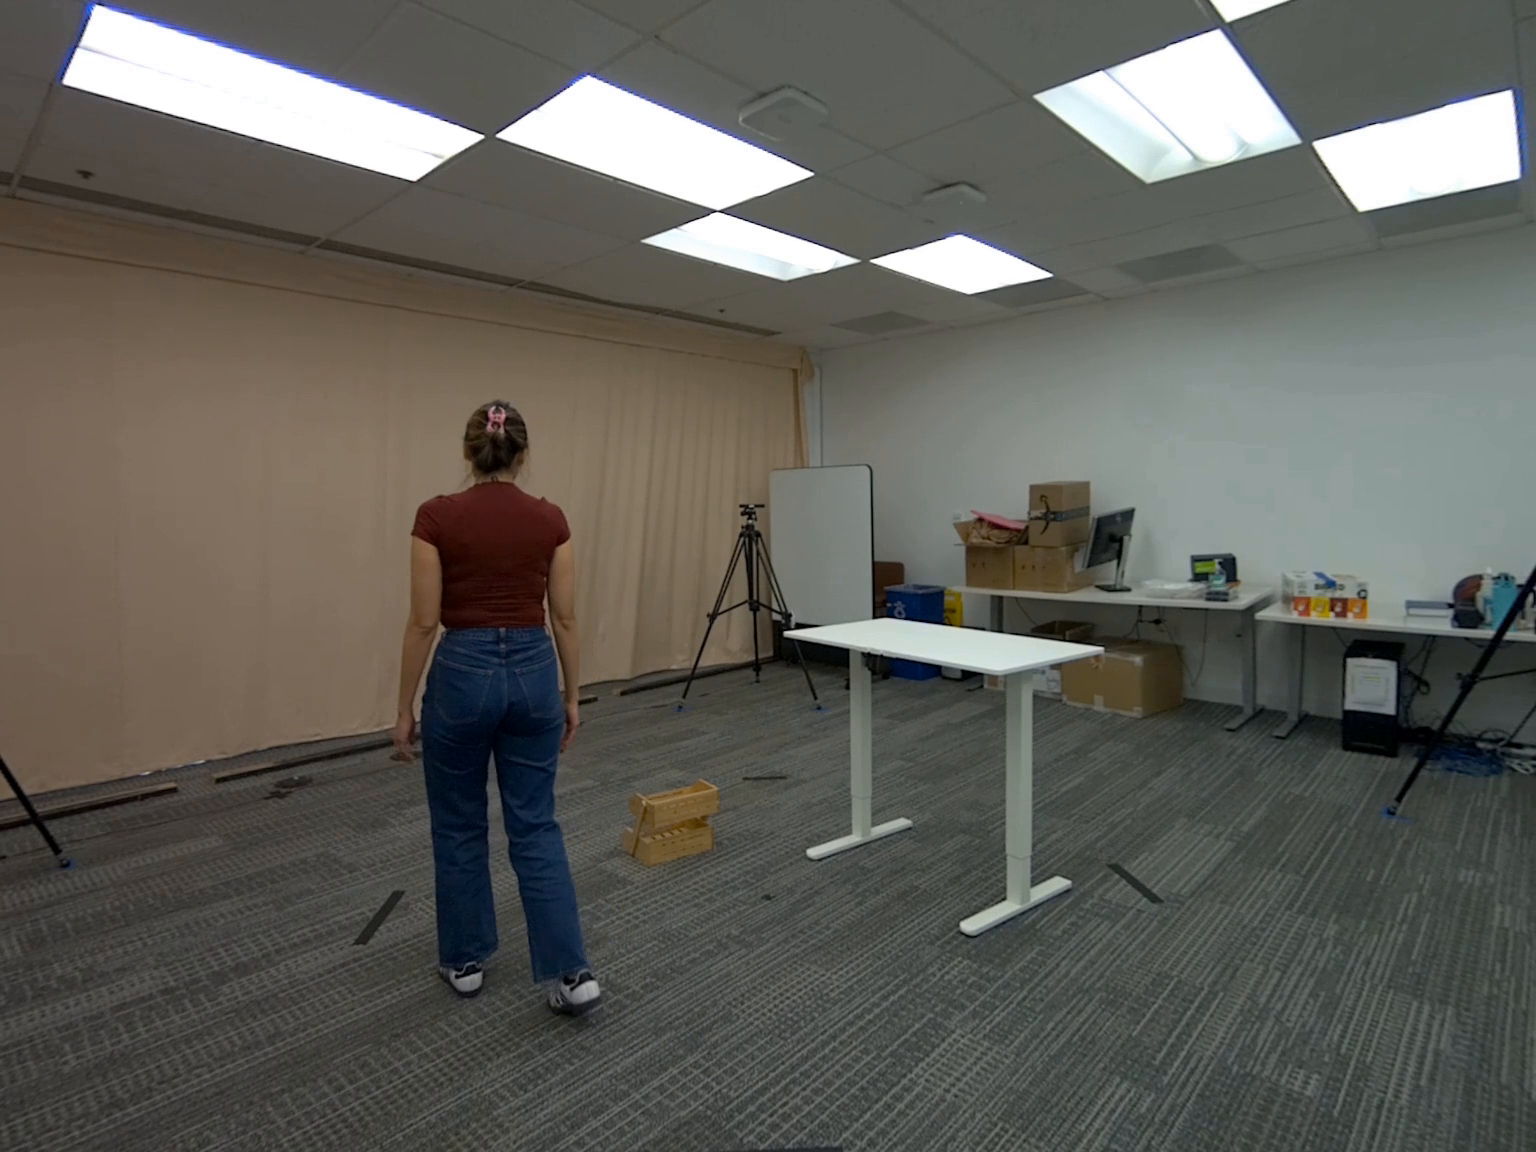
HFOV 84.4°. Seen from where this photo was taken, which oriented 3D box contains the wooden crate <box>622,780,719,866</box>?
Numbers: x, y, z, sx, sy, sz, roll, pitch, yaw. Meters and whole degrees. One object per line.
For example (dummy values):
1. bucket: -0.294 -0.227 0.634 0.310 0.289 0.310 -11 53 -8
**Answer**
1. wooden crate: -0.404 0.976 3.416 0.315 0.272 0.311 -4 5 -33
